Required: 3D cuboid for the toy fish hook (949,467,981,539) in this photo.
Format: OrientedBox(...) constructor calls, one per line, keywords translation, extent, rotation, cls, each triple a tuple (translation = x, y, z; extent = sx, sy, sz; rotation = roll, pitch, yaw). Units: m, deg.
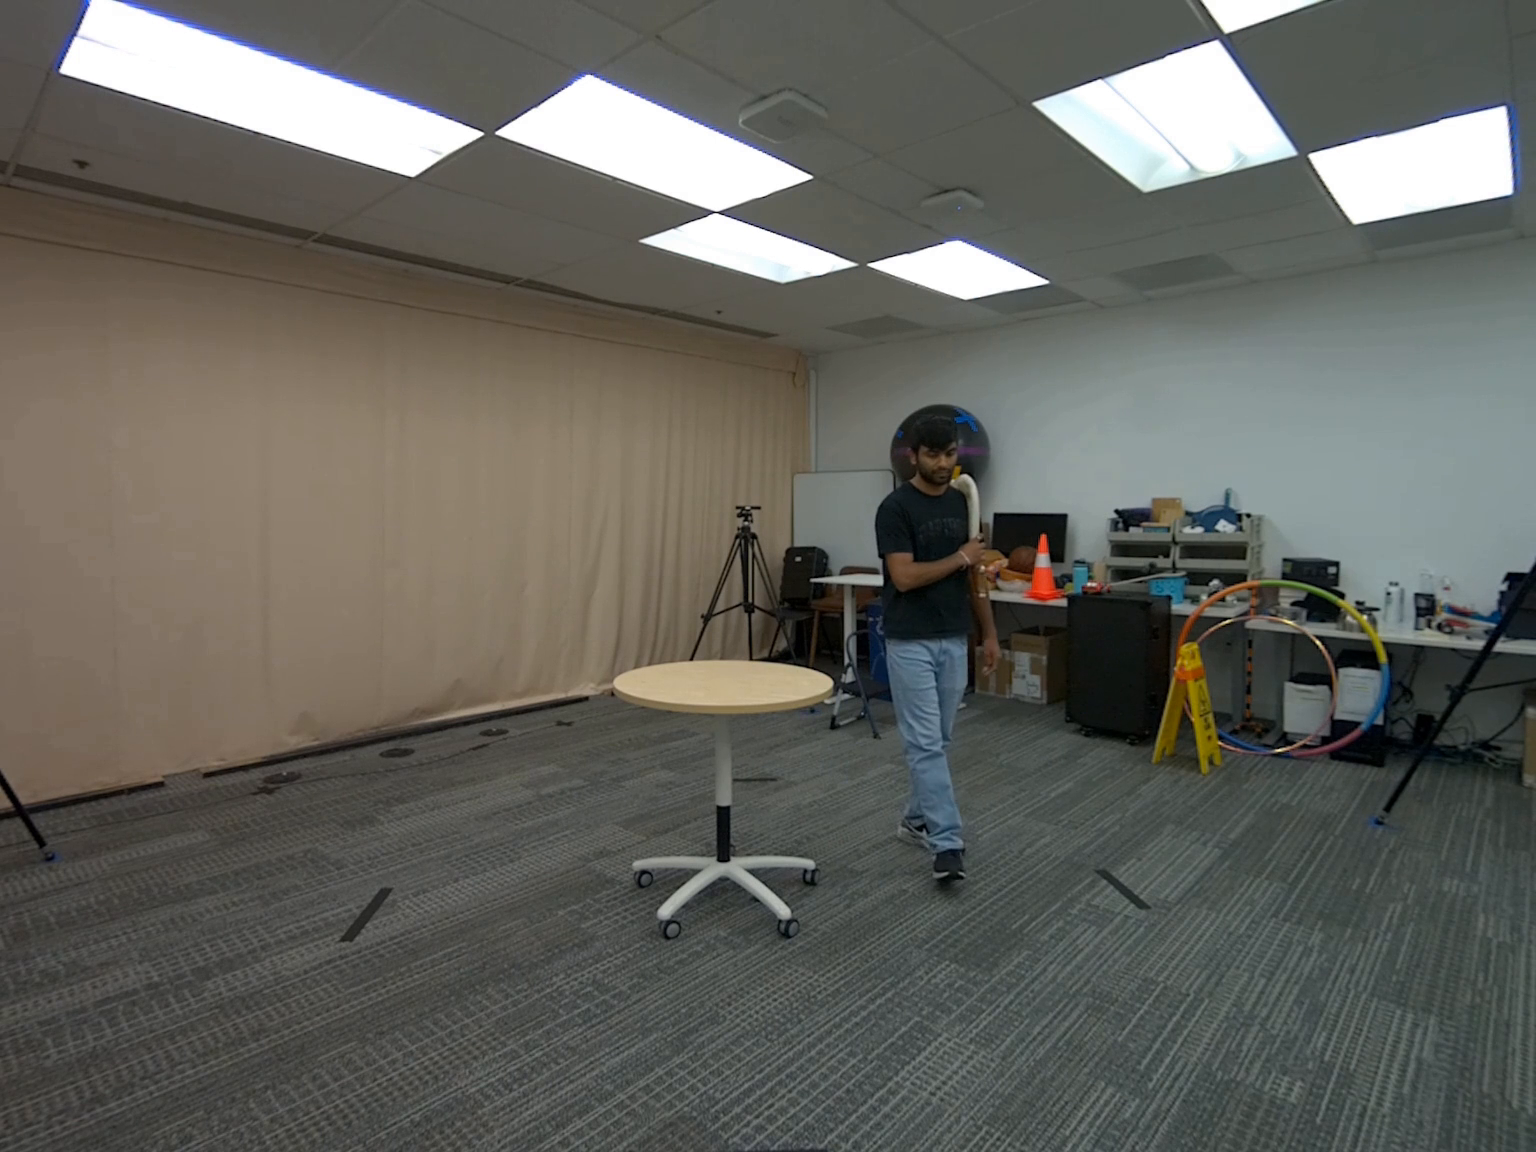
OrientedBox(translation=(0.805, -0.155, 3.363), extent=(0.048, 0.509, 0.226), rotation=(-1, -8, -13), cls="toy fish hook")
